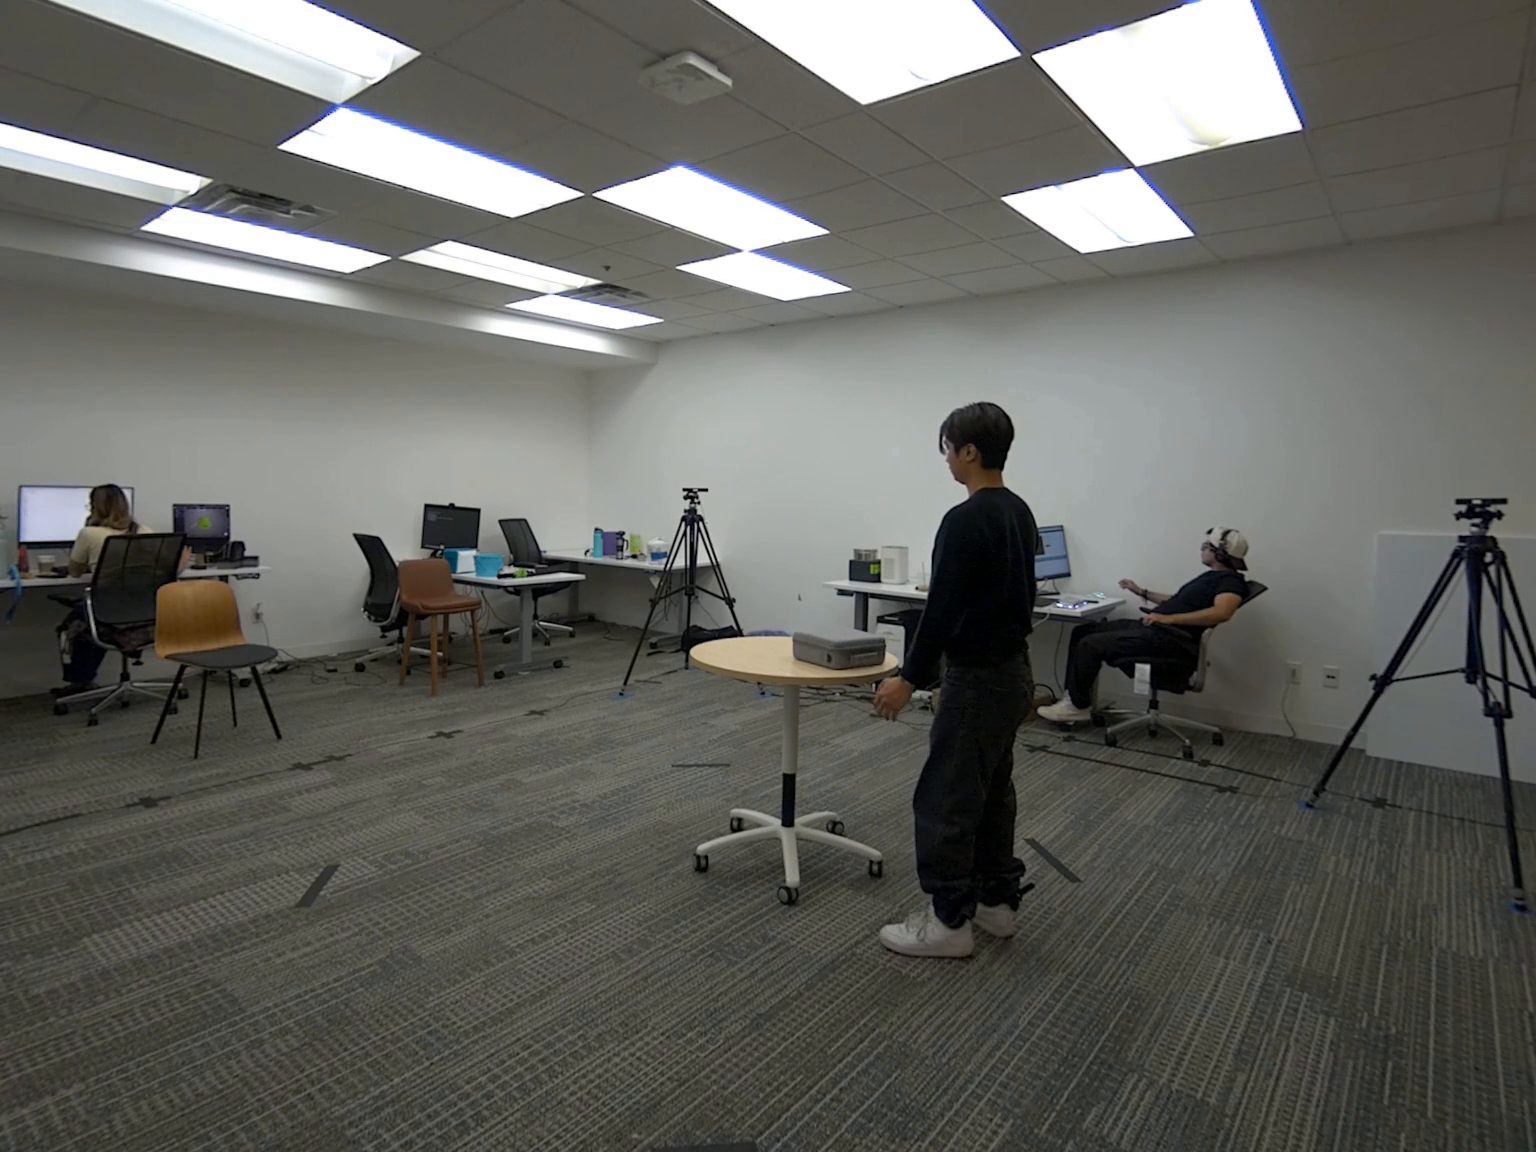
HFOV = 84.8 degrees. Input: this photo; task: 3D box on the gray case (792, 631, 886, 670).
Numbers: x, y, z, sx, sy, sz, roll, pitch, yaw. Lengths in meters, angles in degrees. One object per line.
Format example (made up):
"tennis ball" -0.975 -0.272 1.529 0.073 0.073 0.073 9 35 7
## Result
"gray case" 0.247 0.249 3.047 0.249 0.104 0.269 0 6 -37
